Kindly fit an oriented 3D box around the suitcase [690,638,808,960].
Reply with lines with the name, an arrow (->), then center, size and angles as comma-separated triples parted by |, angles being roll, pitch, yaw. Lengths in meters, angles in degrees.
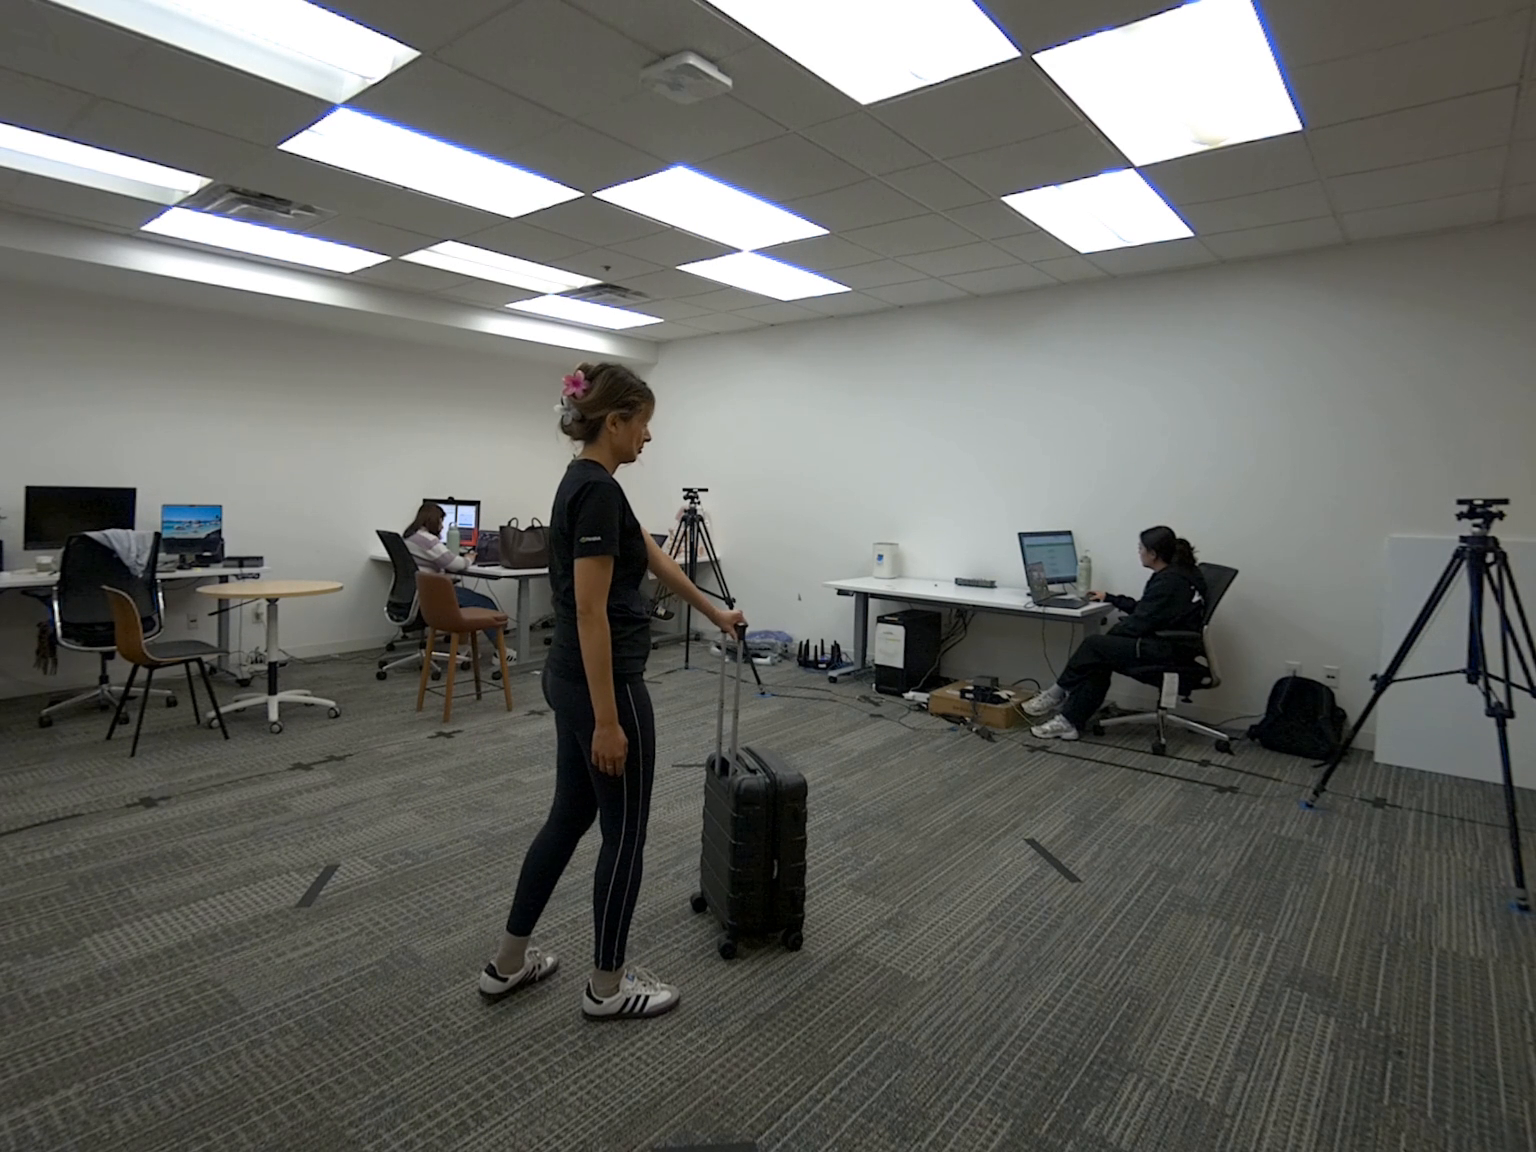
suitcase -> -0.050, 0.639, 2.685 | 0.252, 0.977, 0.392 | 3, 2, -19
